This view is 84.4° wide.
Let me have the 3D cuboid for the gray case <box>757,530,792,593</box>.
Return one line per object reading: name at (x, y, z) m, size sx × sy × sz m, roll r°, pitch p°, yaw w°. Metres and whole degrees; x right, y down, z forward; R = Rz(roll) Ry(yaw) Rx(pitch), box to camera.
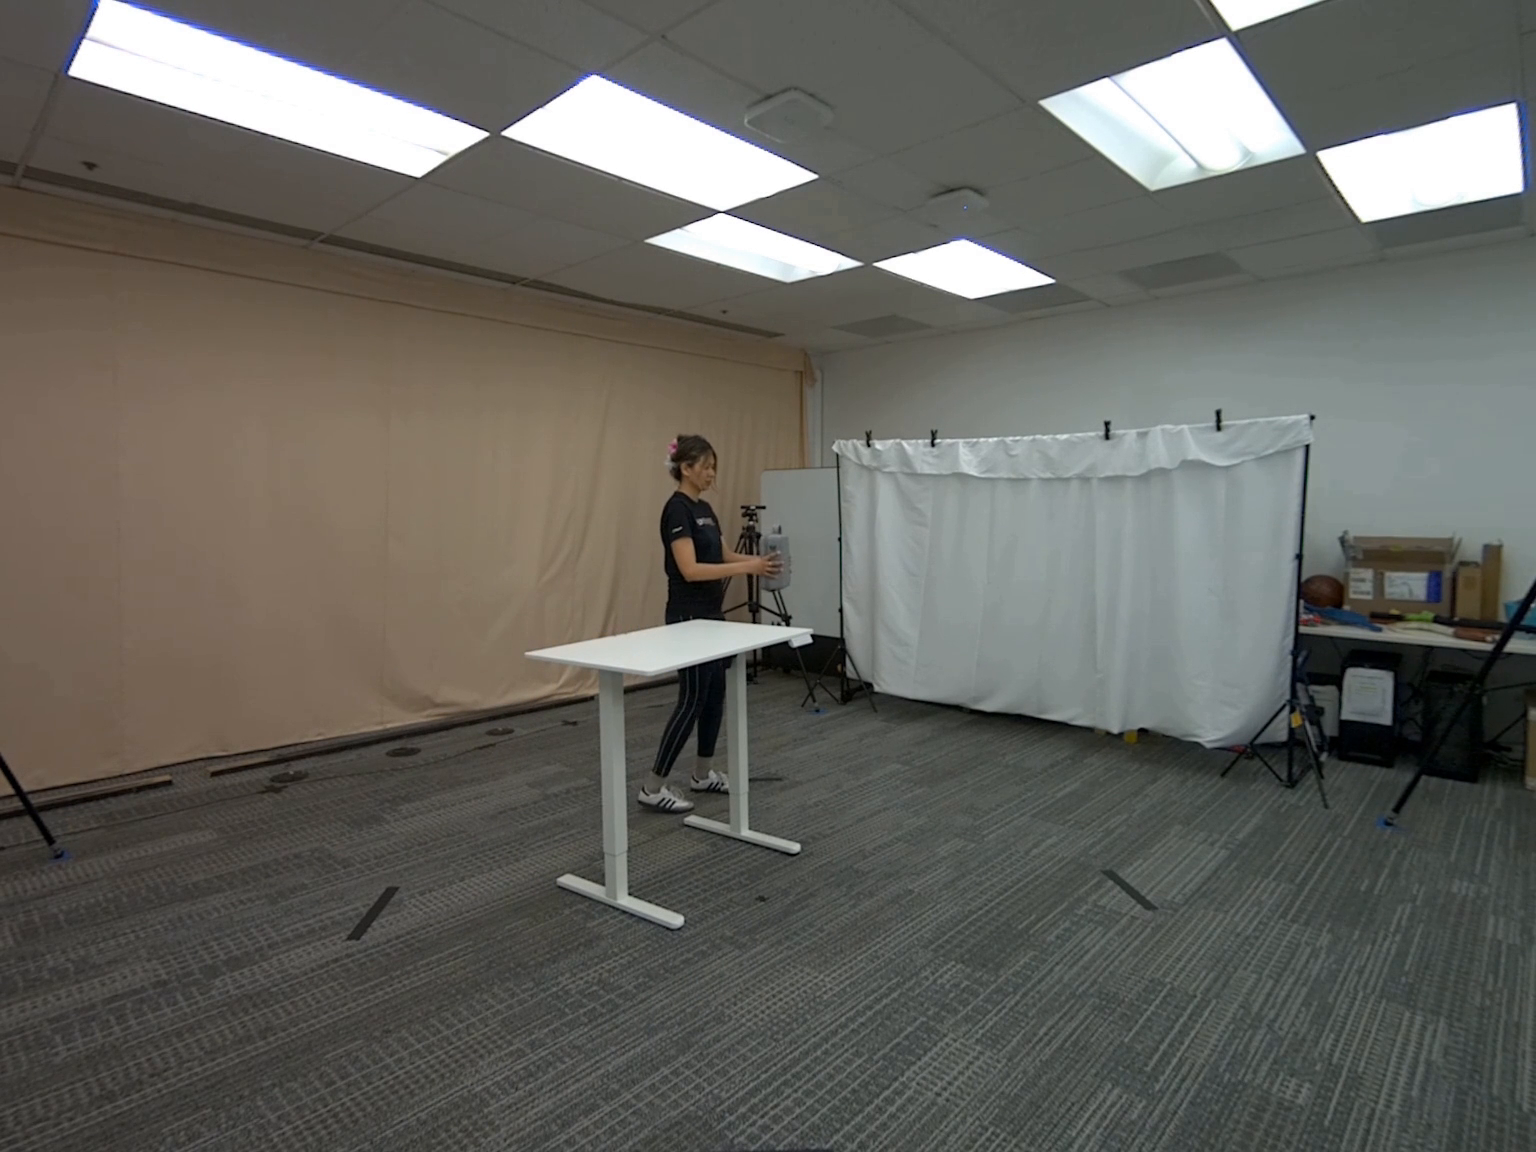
gray case at (0.029, -0.071, 3.870) m, size 0.106 × 0.260 × 0.254 m, roll 1°, pitch 5°, yaw 12°
